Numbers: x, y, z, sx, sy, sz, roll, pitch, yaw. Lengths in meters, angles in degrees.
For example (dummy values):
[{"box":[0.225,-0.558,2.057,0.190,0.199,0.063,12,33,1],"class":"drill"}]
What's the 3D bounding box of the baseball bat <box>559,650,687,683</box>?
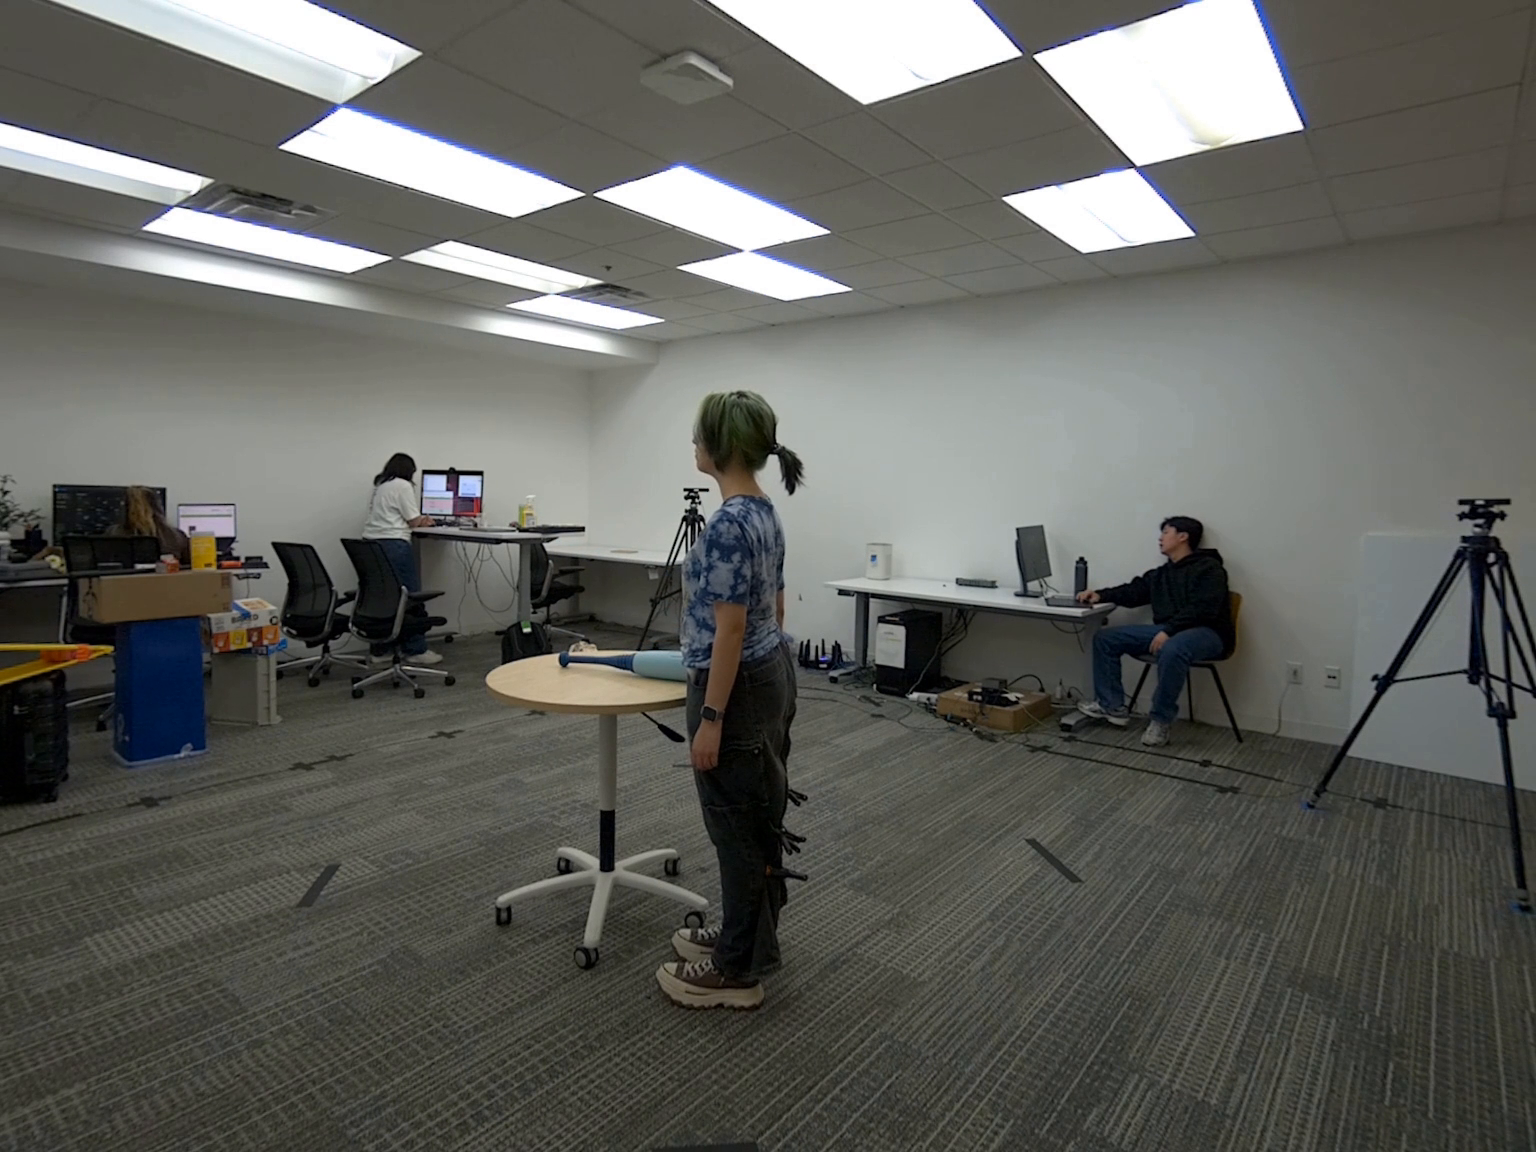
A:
[{"box":[-0.455,0.282,2.739,0.555,0.089,0.087,0,3,21],"class":"baseball bat"}]
